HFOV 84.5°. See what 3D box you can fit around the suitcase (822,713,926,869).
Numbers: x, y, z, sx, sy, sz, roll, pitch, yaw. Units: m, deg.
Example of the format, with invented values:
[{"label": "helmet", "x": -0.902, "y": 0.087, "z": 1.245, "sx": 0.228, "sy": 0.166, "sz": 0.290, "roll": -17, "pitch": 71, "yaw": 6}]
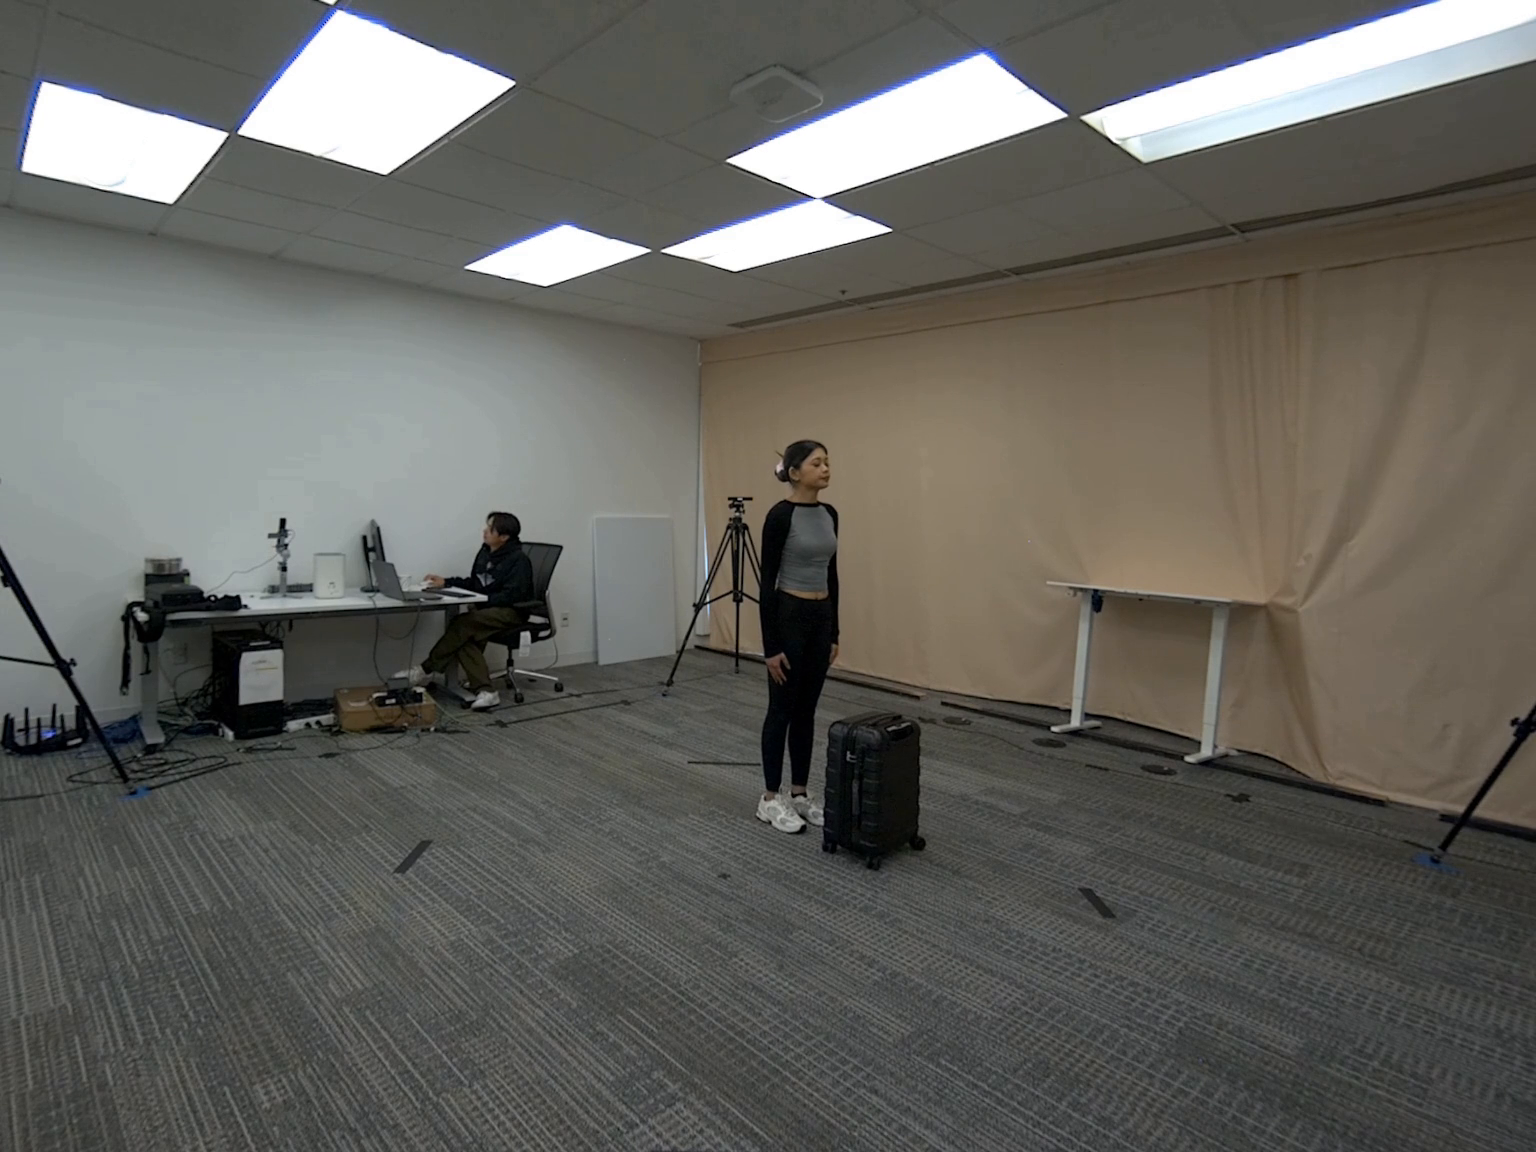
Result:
[{"label": "suitcase", "x": 0.411, "y": 0.825, "z": 3.340, "sx": 0.254, "sy": 0.548, "sz": 0.367, "roll": 4, "pitch": 6, "yaw": 43}]
